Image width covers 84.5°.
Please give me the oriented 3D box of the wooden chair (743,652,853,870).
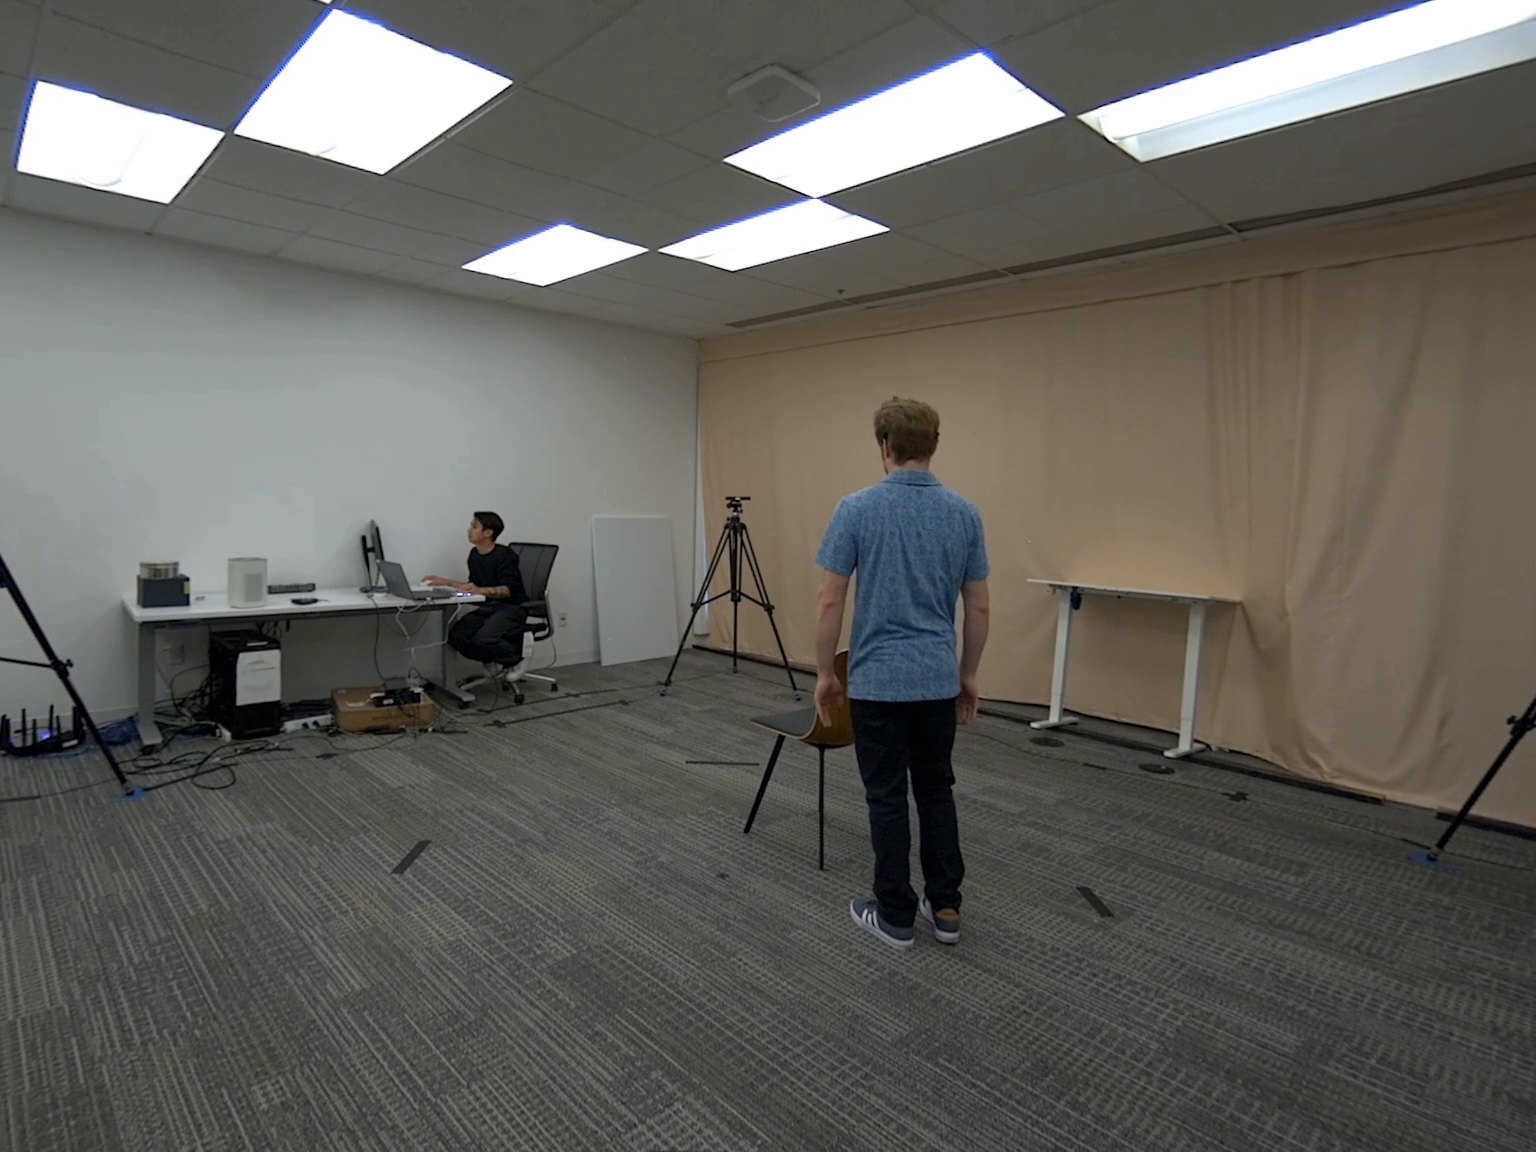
[{"bbox_3d":[0.215,0.655,3.453,0.467,0.873,0.537,-1,8,-41],"label":"wooden chair"}]
